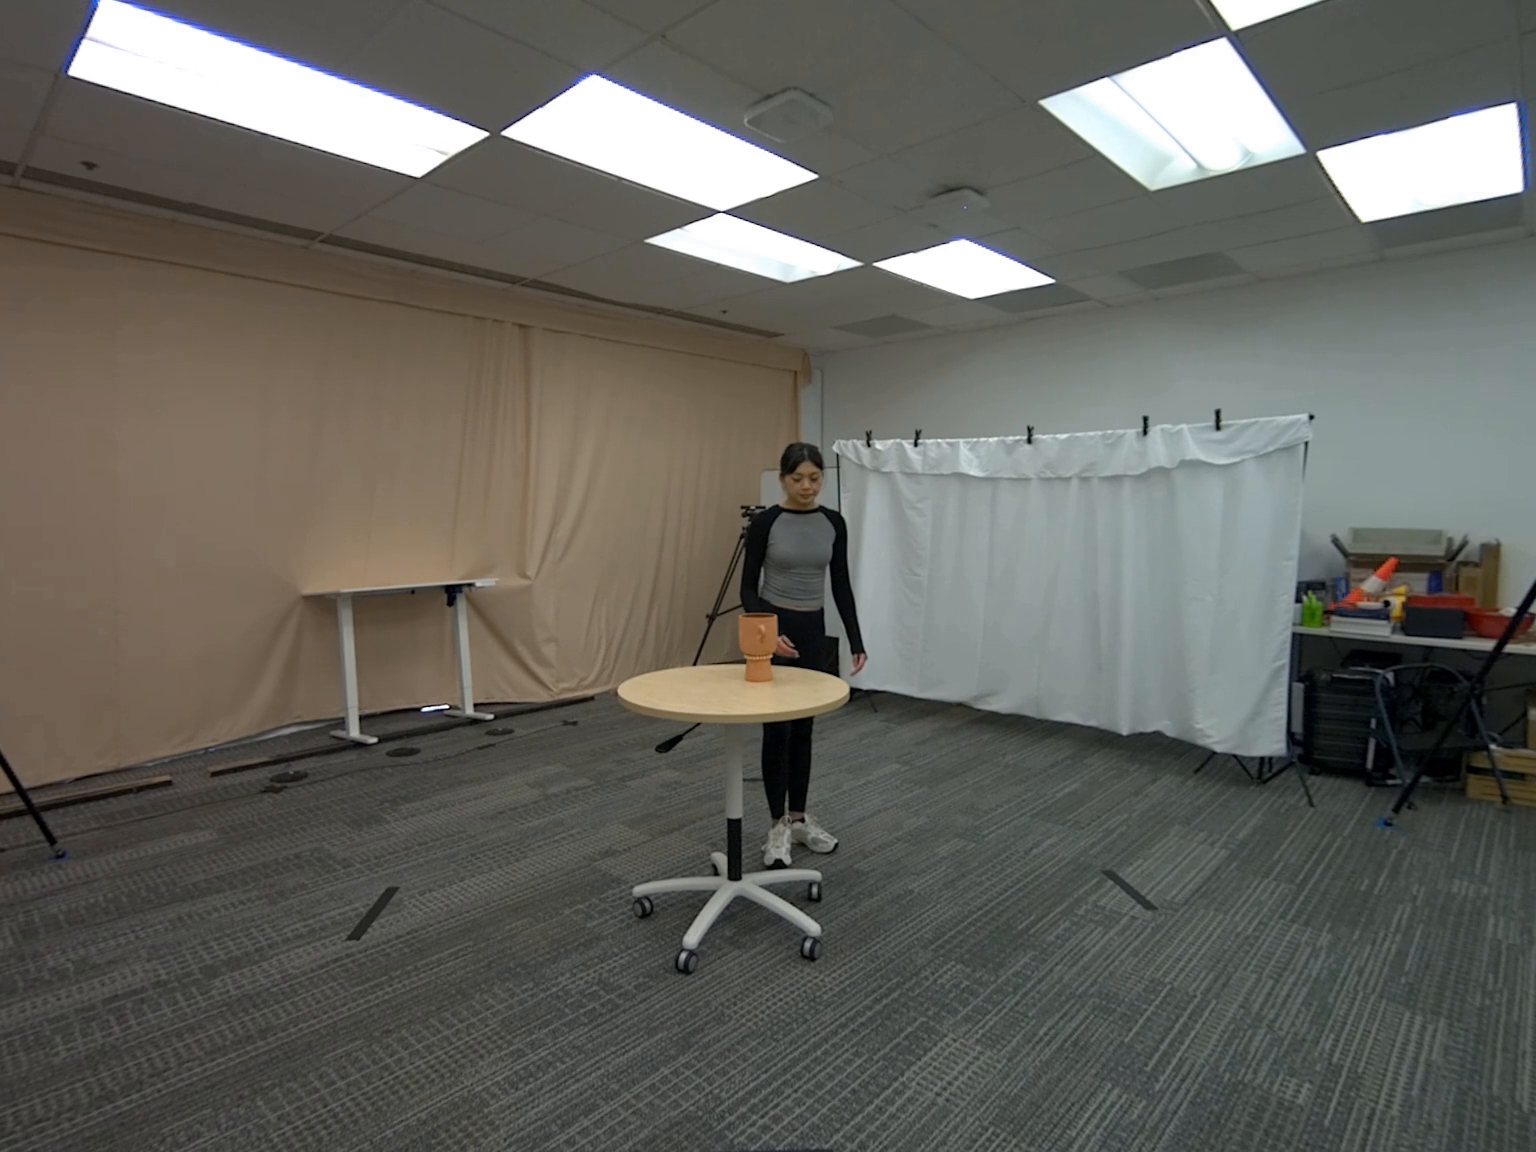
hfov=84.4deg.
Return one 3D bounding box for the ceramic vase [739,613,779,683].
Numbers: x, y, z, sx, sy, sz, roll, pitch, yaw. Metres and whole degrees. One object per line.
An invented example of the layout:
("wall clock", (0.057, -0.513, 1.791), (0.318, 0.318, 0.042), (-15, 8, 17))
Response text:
("ceramic vase", (-0.030, 0.244, 2.903), (0.138, 0.219, 0.155), (2, 4, 29))
